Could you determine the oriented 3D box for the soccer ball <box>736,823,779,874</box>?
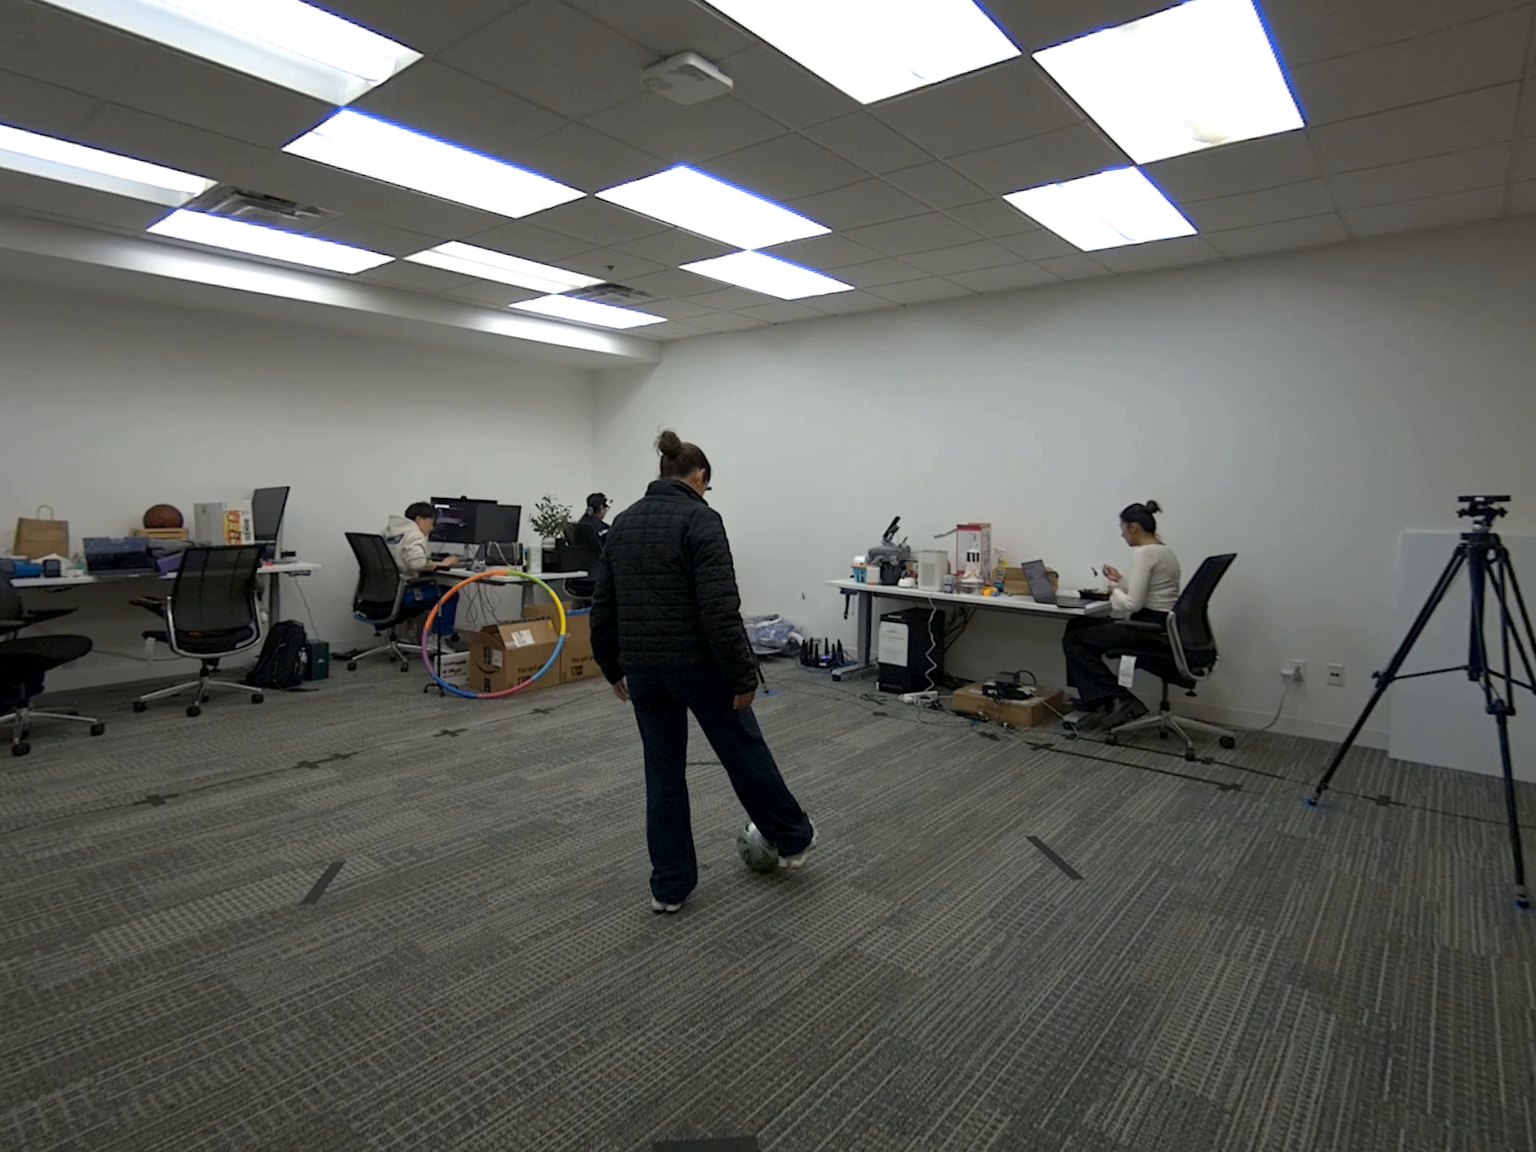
[{"bbox_3d":[-0.022,0.972,3.111,0.187,0.187,0.188,1,4,-2],"label":"soccer ball"}]
